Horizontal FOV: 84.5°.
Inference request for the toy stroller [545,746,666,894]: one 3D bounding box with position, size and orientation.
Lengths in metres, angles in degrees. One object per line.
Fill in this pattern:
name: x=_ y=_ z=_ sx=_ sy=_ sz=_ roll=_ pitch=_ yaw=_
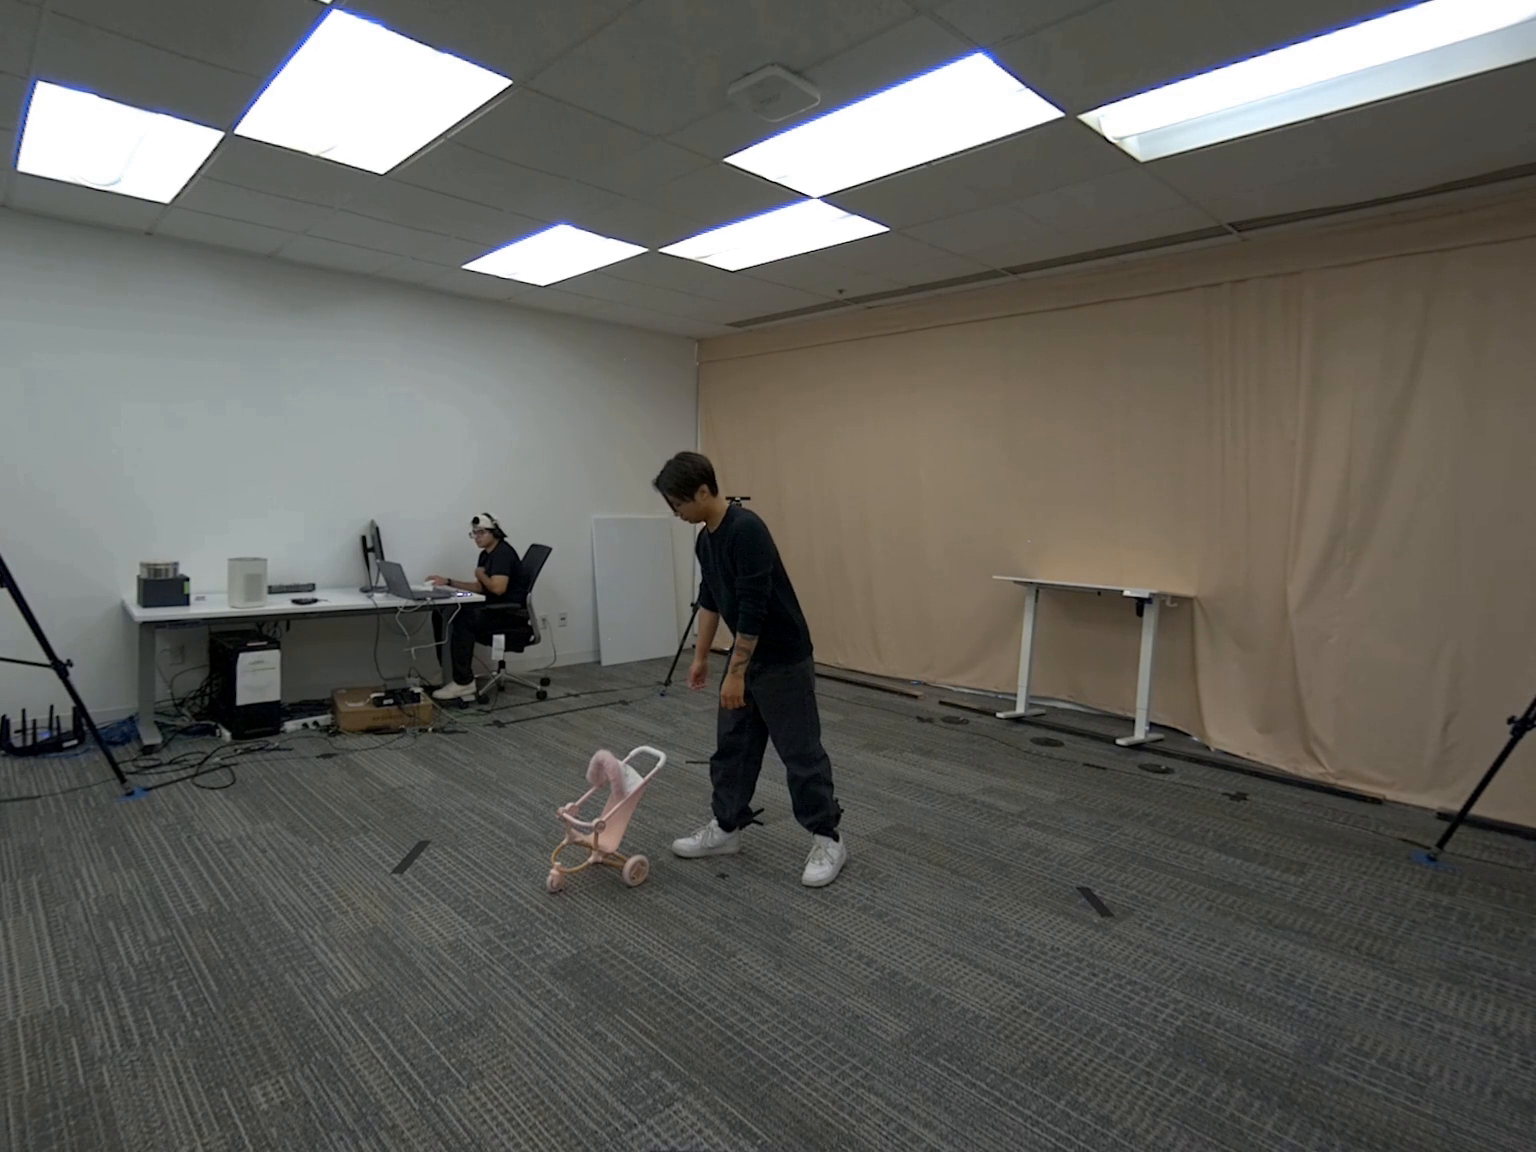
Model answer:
toy stroller: x=-0.607 y=0.876 z=3.054 sx=0.332 sy=0.536 sz=0.288 roll=17 pitch=-7 yaw=-36
